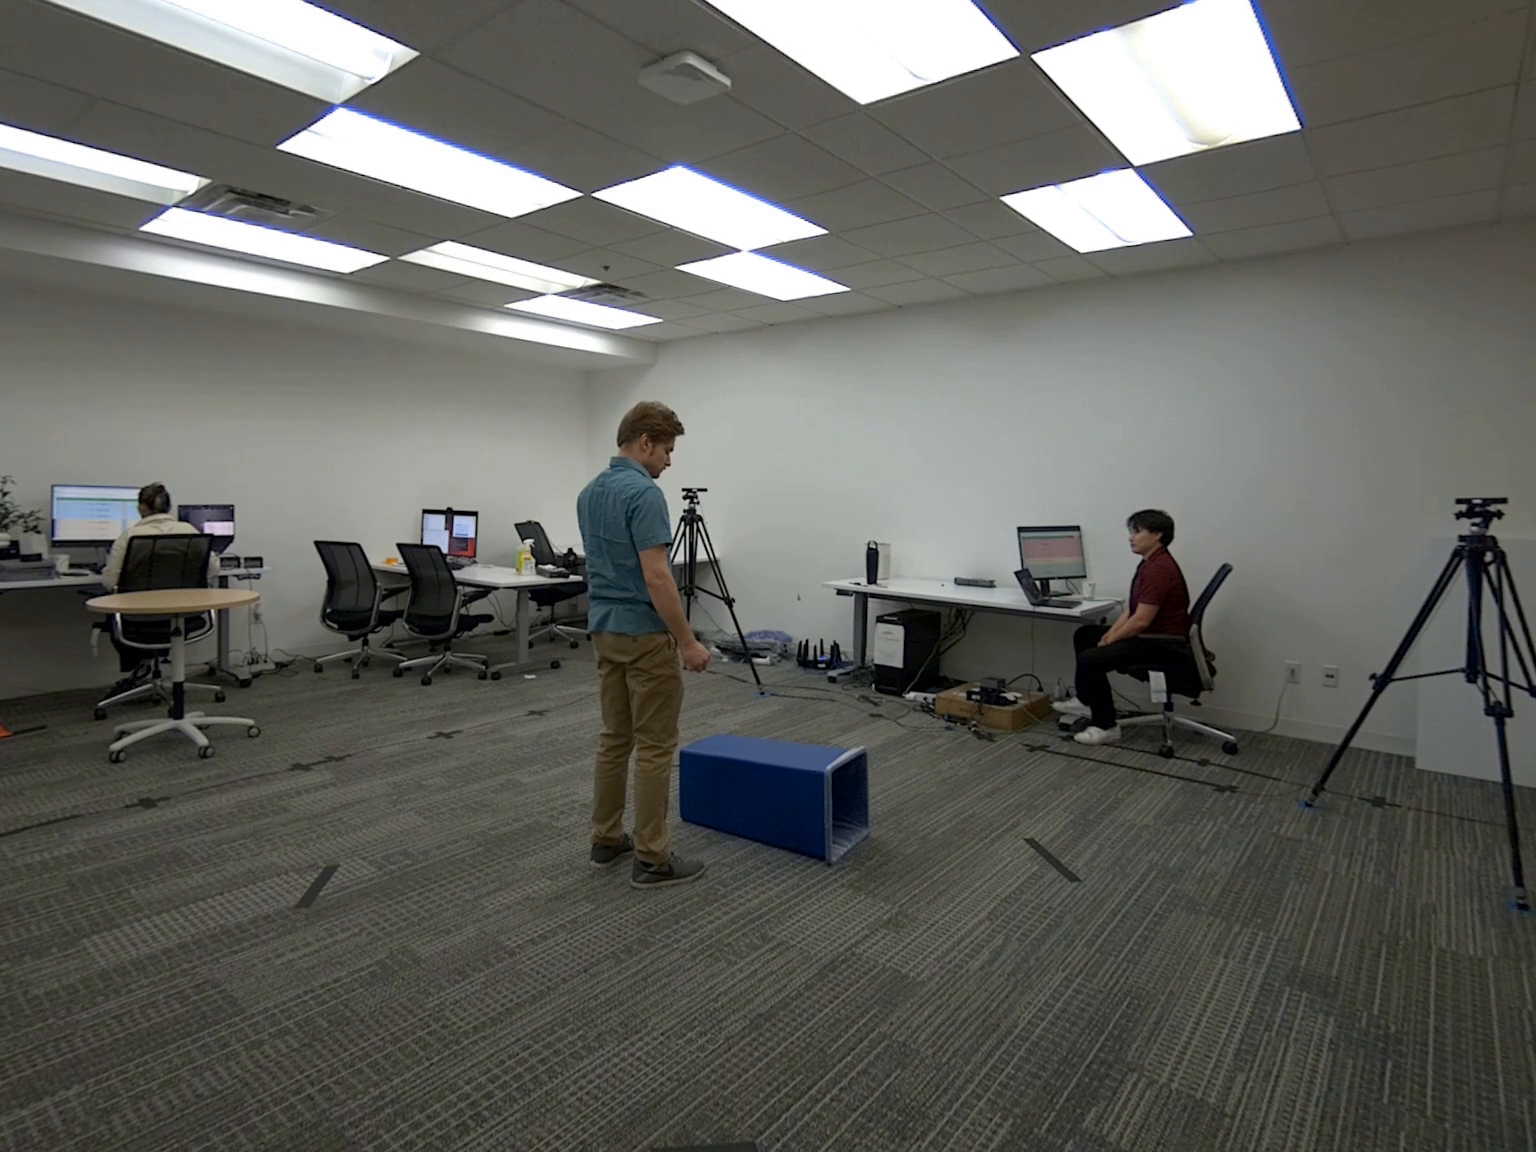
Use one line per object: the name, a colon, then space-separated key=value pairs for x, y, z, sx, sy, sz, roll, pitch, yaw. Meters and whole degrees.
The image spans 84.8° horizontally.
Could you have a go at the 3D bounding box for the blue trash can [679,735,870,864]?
blue trash can: x=0.002 y=0.874 z=3.485 sx=0.734 sy=0.377 sz=0.364 roll=1 pitch=4 yaw=31
